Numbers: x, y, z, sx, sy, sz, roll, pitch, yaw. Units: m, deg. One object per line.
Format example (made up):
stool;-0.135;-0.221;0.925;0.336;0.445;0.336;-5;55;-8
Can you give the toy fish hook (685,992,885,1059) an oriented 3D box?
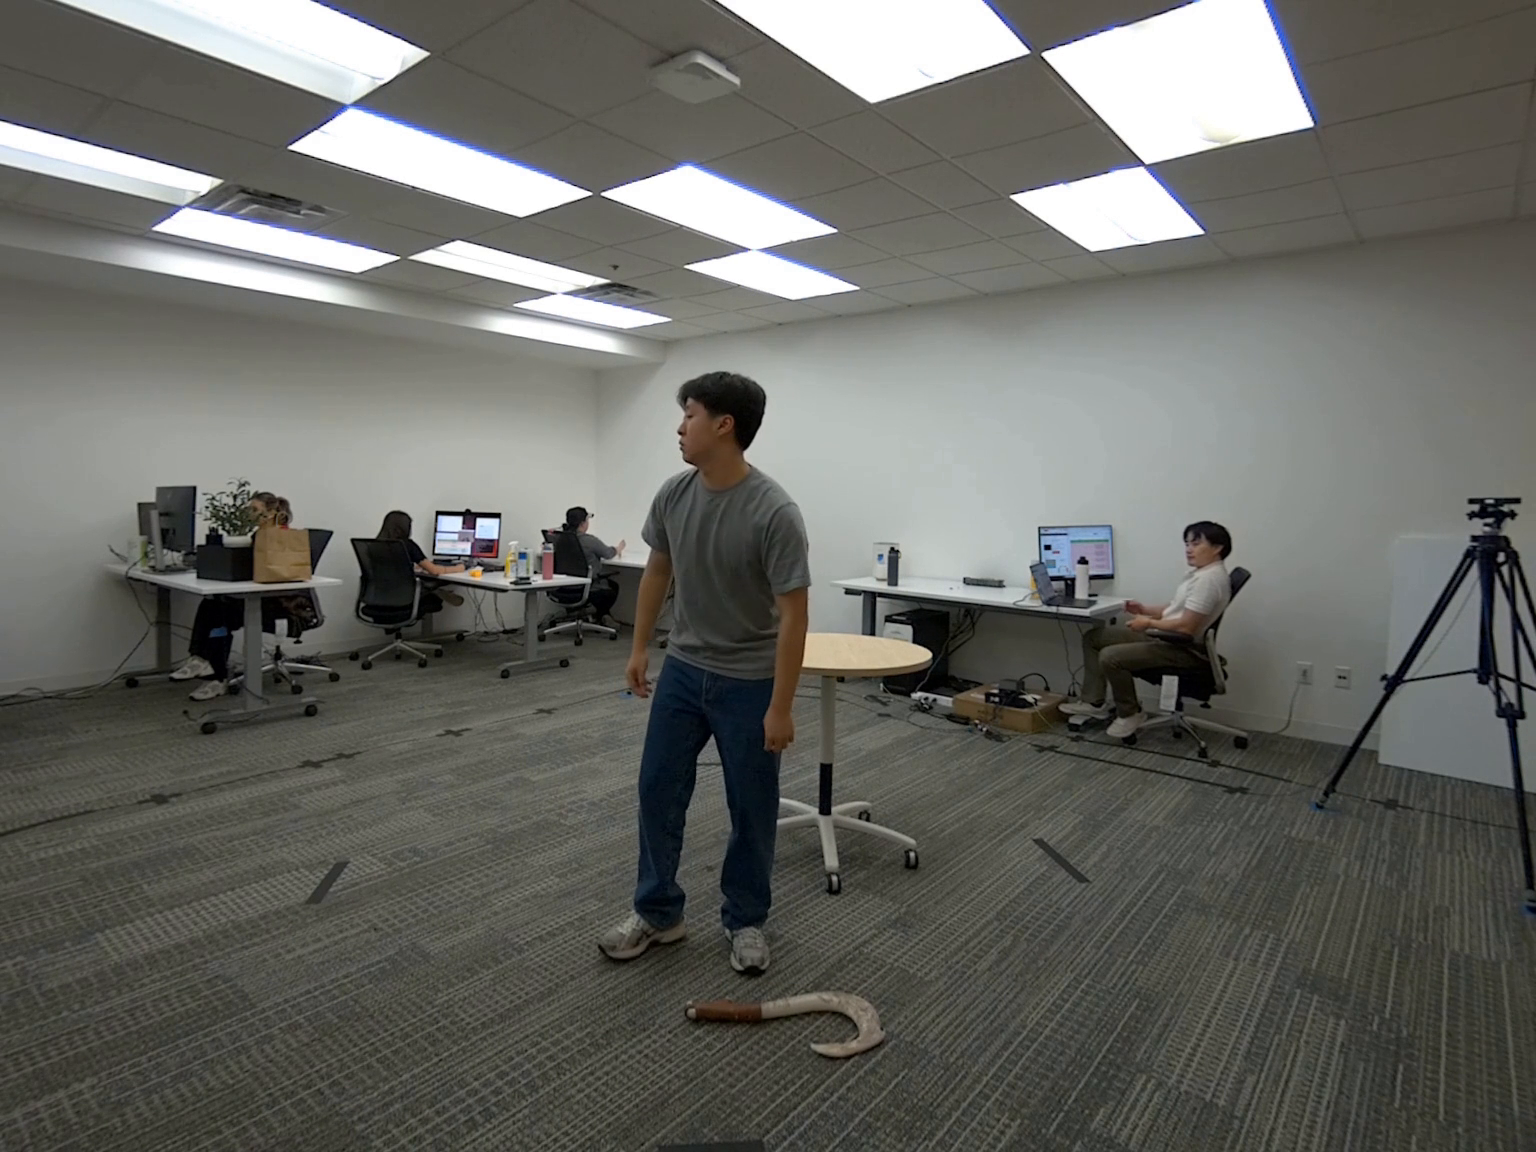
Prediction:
toy fish hook;0.034;1.141;2.183;0.505;0.048;0.226;0;5;-3
